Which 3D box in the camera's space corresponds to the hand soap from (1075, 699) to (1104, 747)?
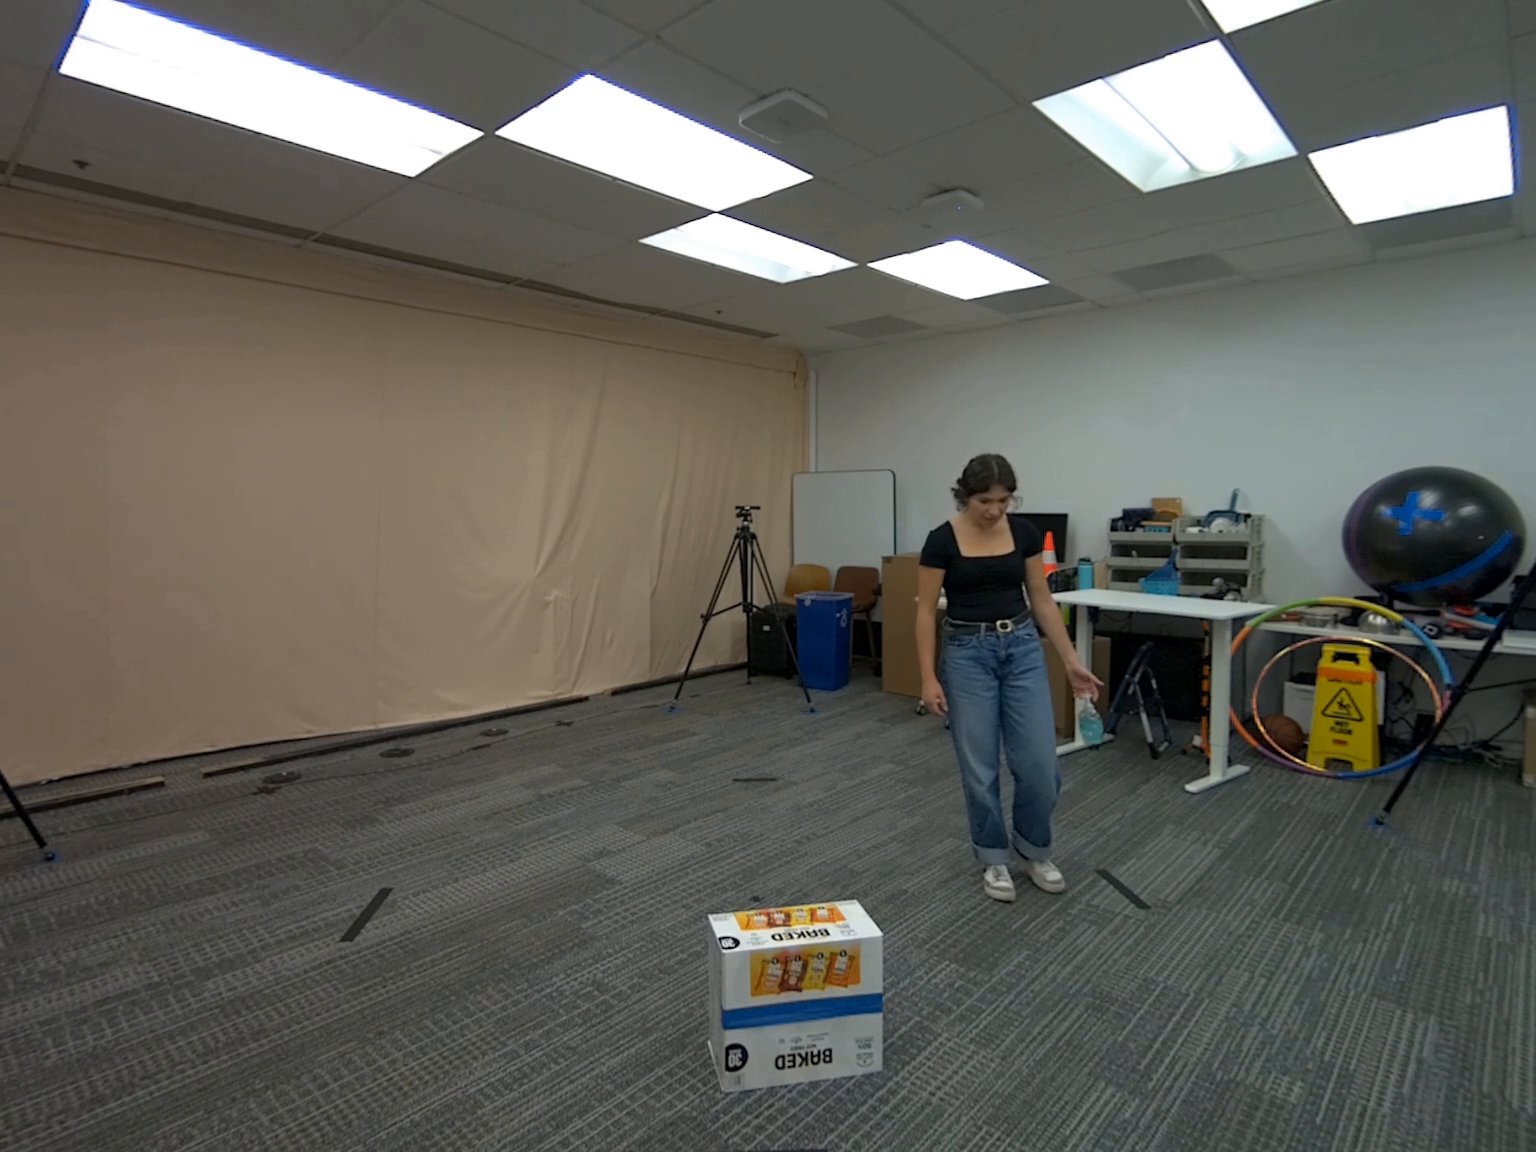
[{"bbox_3d":[1.112,0.489,2.901,0.042,0.167,0.087,-10,9,-30],"label":"hand soap"}]
